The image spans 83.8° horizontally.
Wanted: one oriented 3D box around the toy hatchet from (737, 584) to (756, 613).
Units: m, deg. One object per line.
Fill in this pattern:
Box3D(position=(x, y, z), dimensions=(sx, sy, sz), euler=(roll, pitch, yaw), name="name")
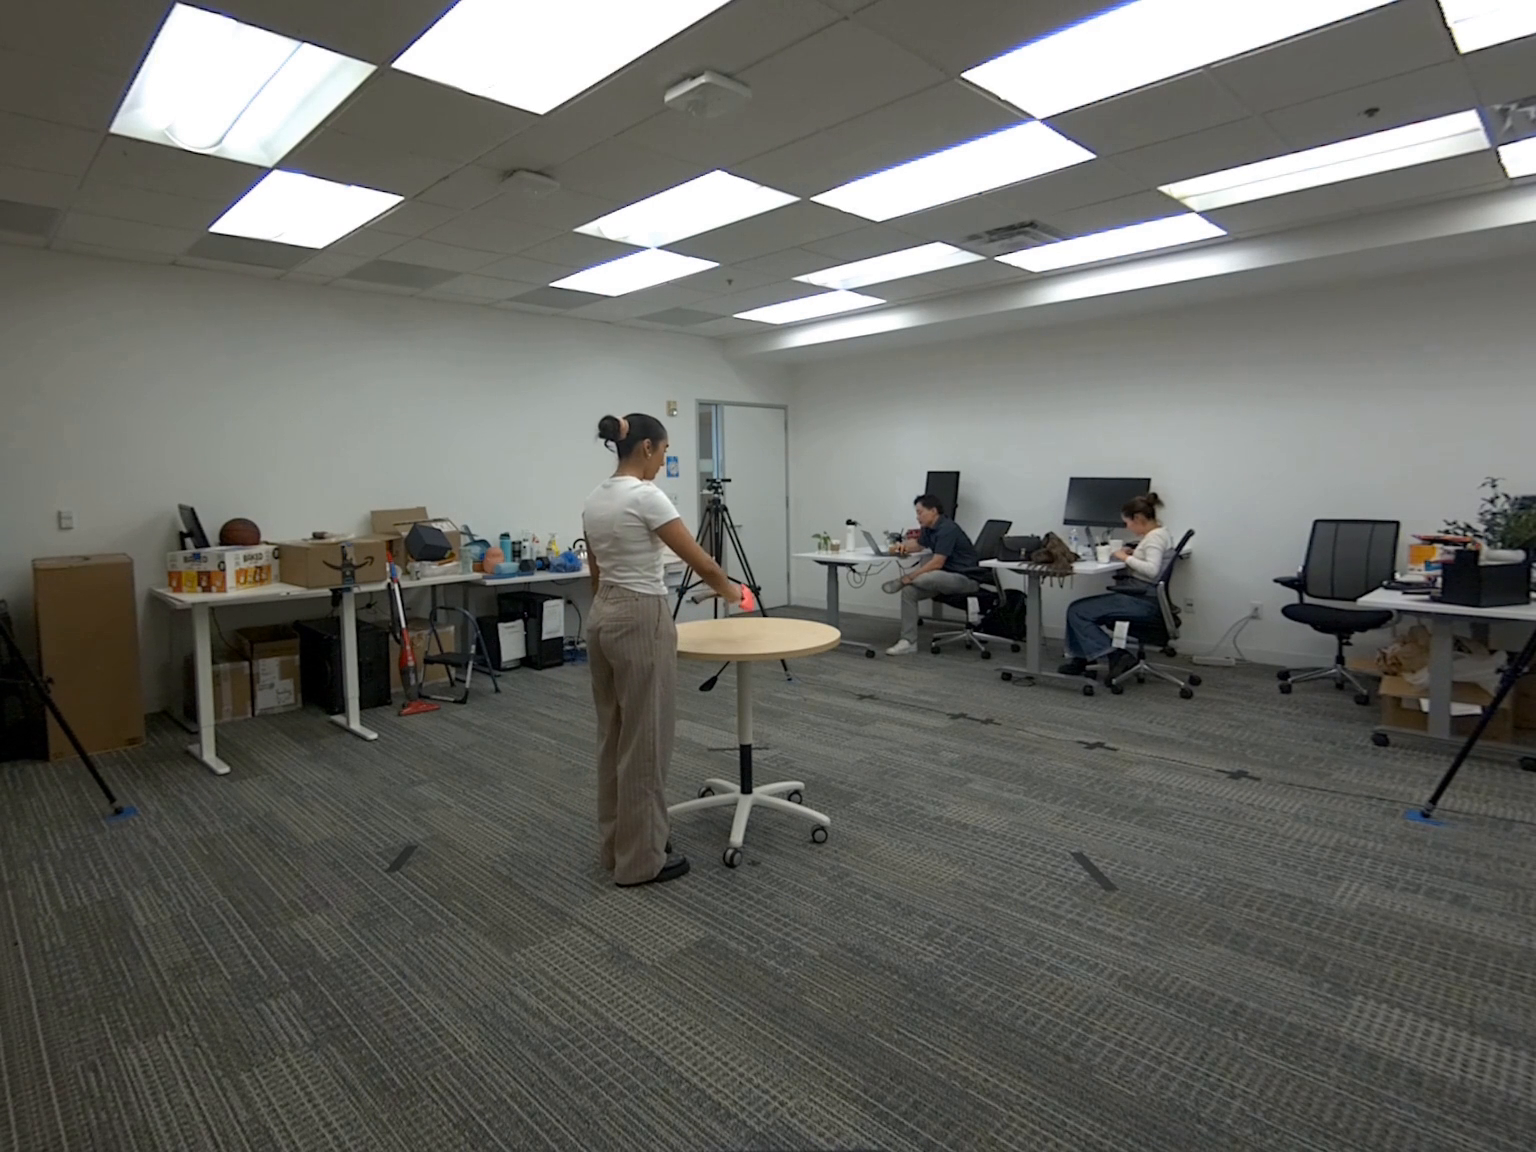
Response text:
Box3D(position=(-0.158, 0.093, 3.209), dimensions=(0.265, 0.029, 0.135), euler=(-17, 57, -36), name="toy hatchet")
